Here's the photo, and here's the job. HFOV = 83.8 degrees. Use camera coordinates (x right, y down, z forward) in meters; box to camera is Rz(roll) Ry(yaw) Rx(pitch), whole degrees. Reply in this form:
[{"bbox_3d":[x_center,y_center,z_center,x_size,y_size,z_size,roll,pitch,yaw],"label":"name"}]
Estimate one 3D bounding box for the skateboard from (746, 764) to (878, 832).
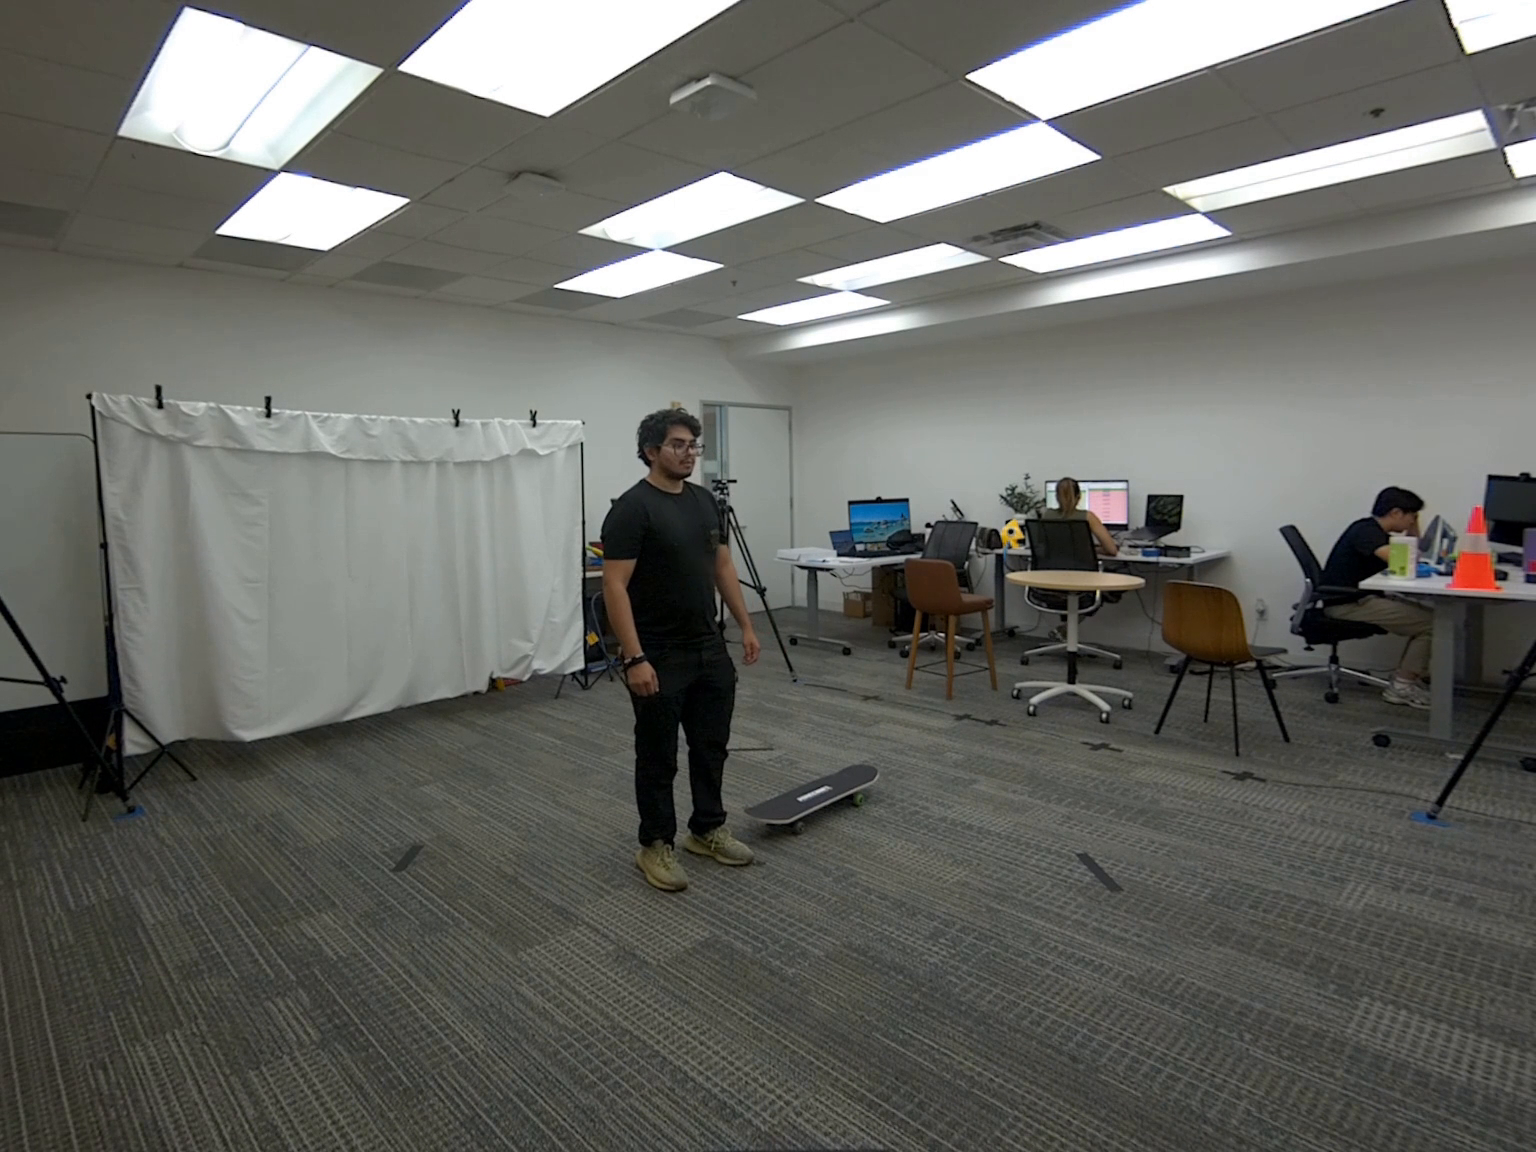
[{"bbox_3d":[0.193,0.936,3.557,0.199,0.110,0.765,4,8,42],"label":"skateboard"}]
